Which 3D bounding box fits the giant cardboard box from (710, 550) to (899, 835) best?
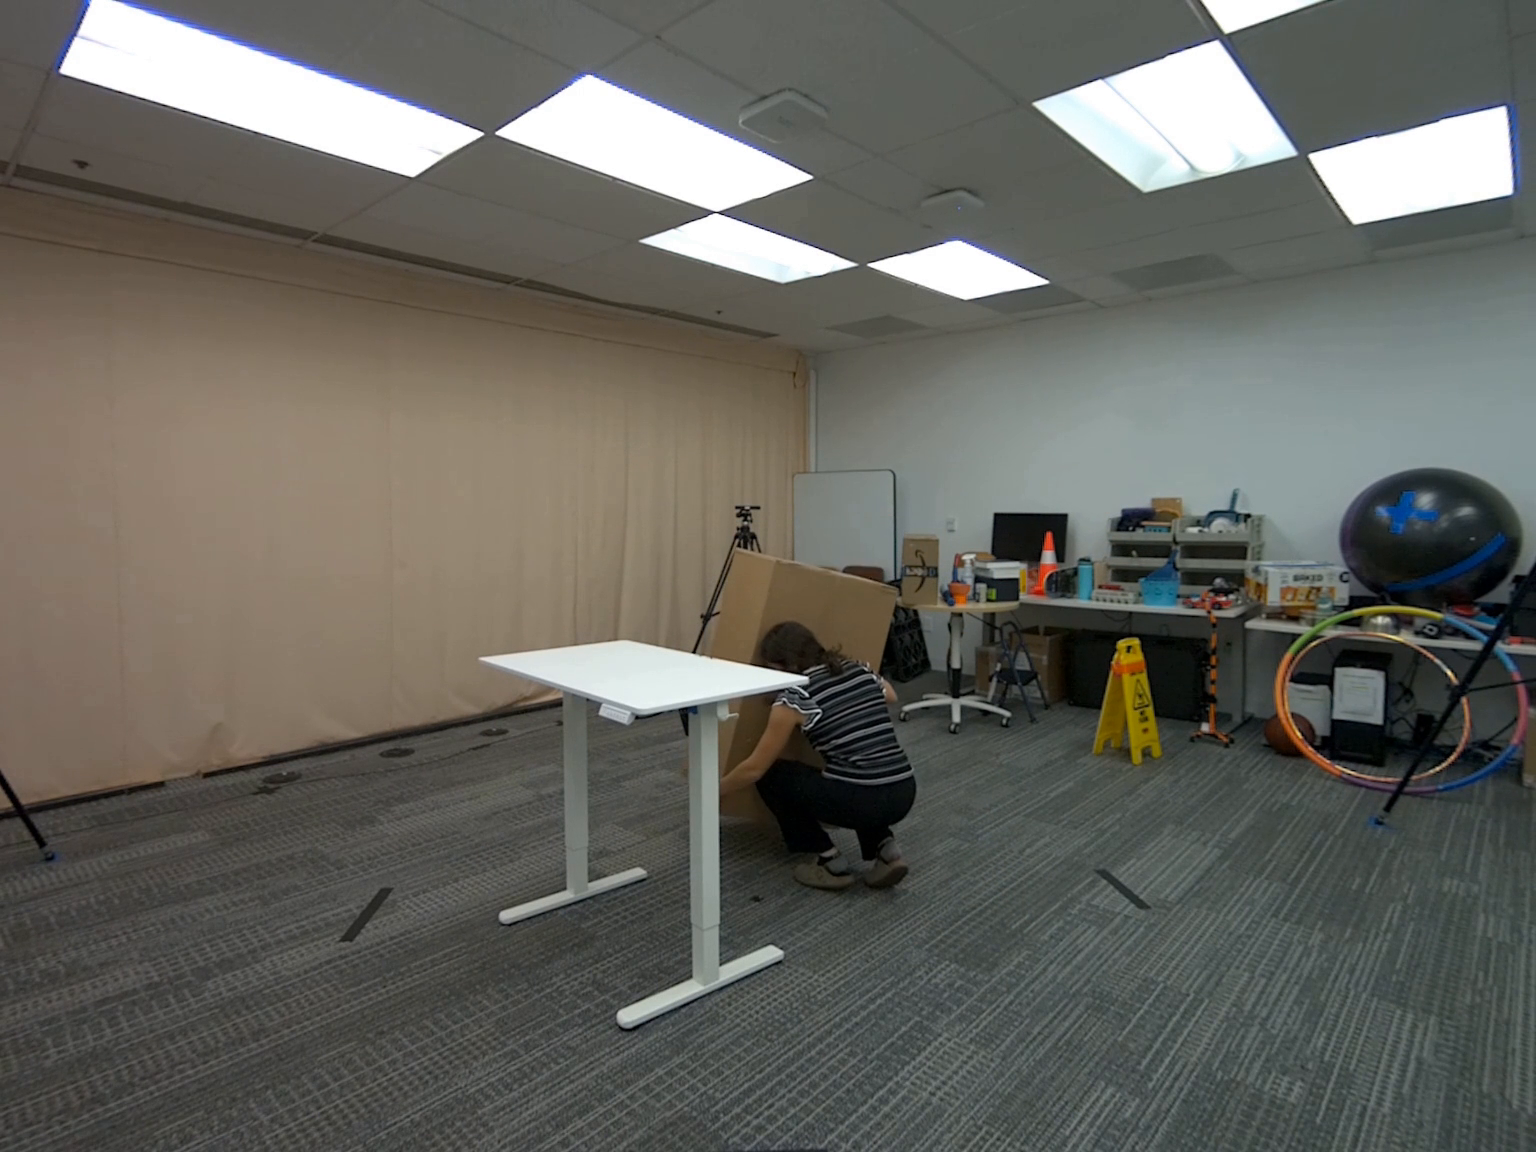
[{"bbox_3d":[0.076,0.458,3.538,0.564,1.025,0.437,13,2,-22],"label":"giant cardboard box"}]
